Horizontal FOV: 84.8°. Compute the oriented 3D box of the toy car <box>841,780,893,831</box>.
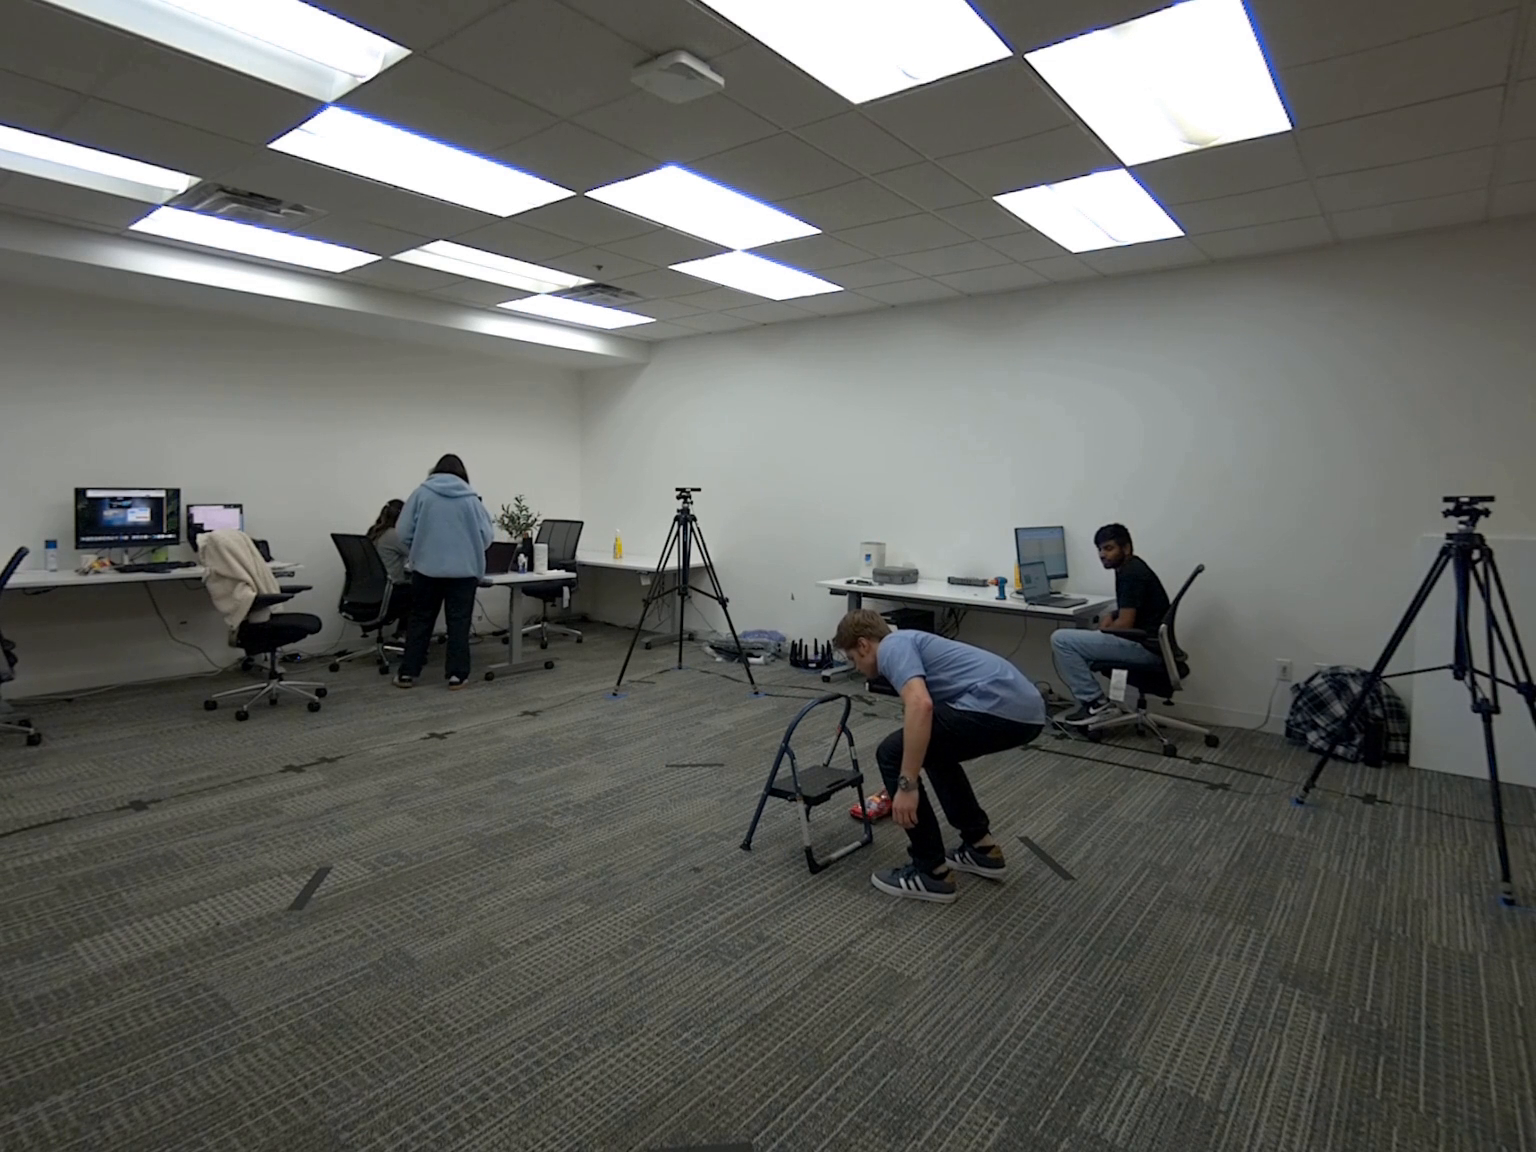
[{"bbox_3d":[0.449,0.992,3.653,0.135,0.082,0.249,5,17,43],"label":"toy car"}]
